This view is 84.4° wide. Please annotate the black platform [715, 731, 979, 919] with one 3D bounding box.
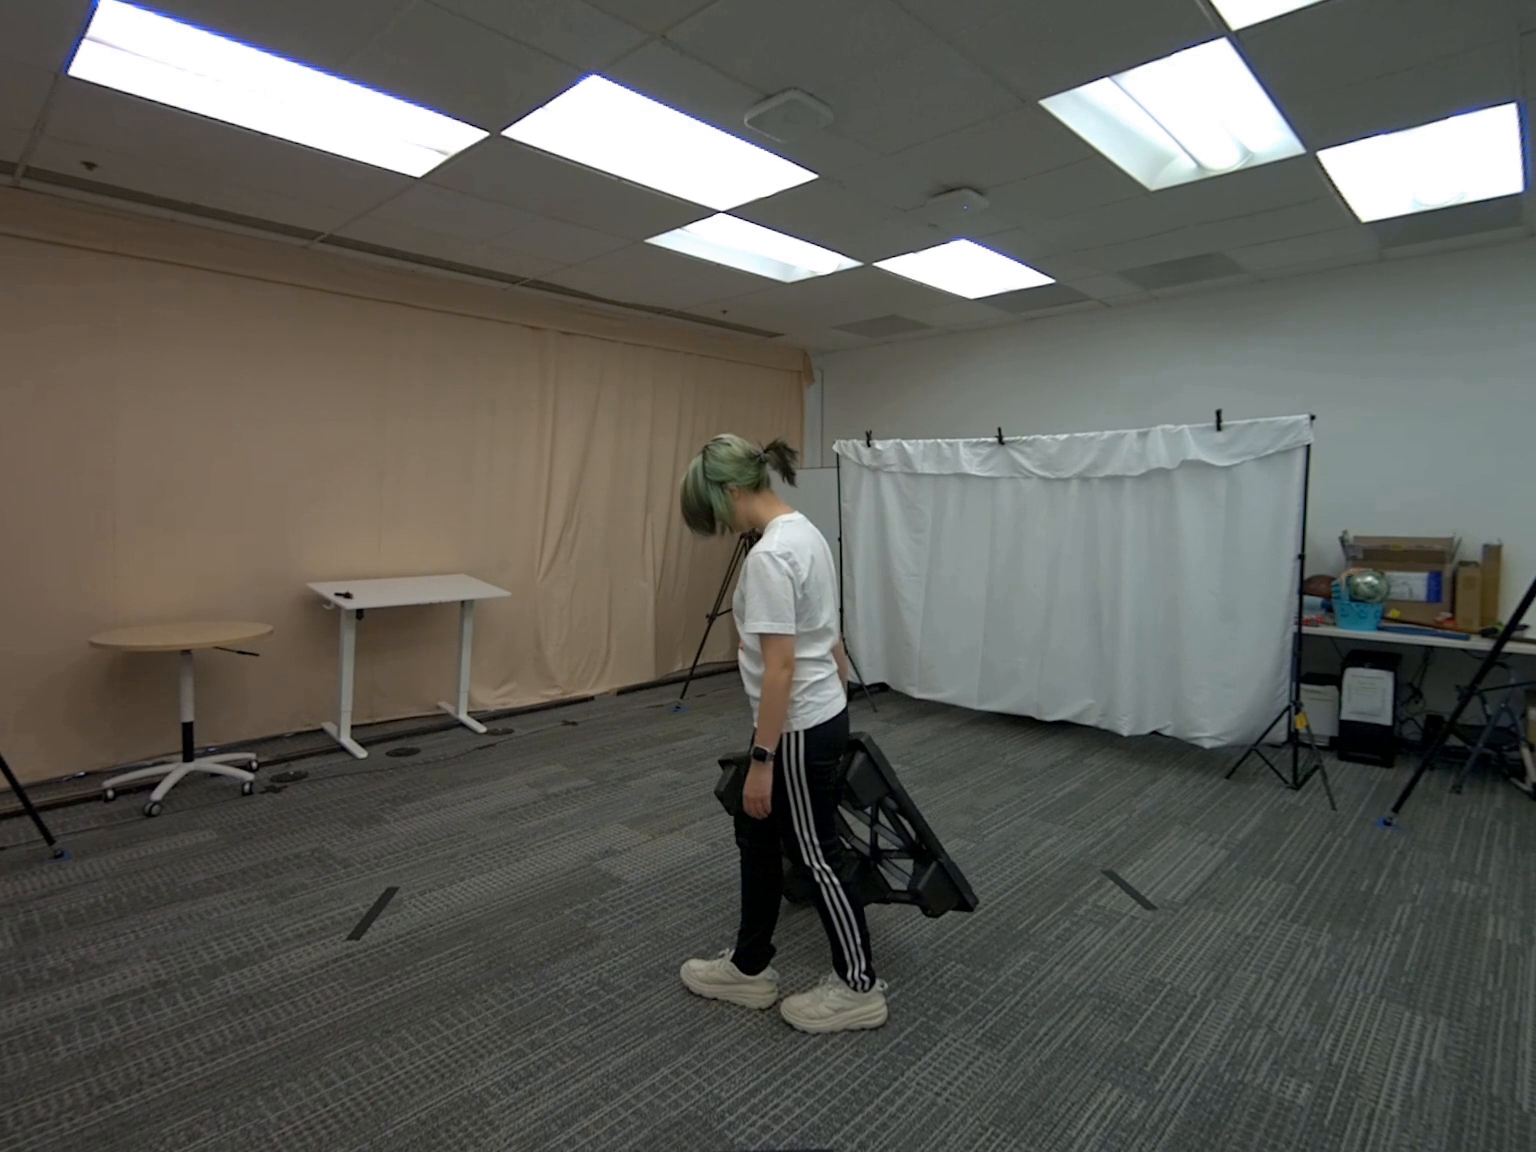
[{"bbox_3d":[0.187,0.817,2.656,0.141,0.603,0.821,-34,4,-37],"label":"black platform"}]
